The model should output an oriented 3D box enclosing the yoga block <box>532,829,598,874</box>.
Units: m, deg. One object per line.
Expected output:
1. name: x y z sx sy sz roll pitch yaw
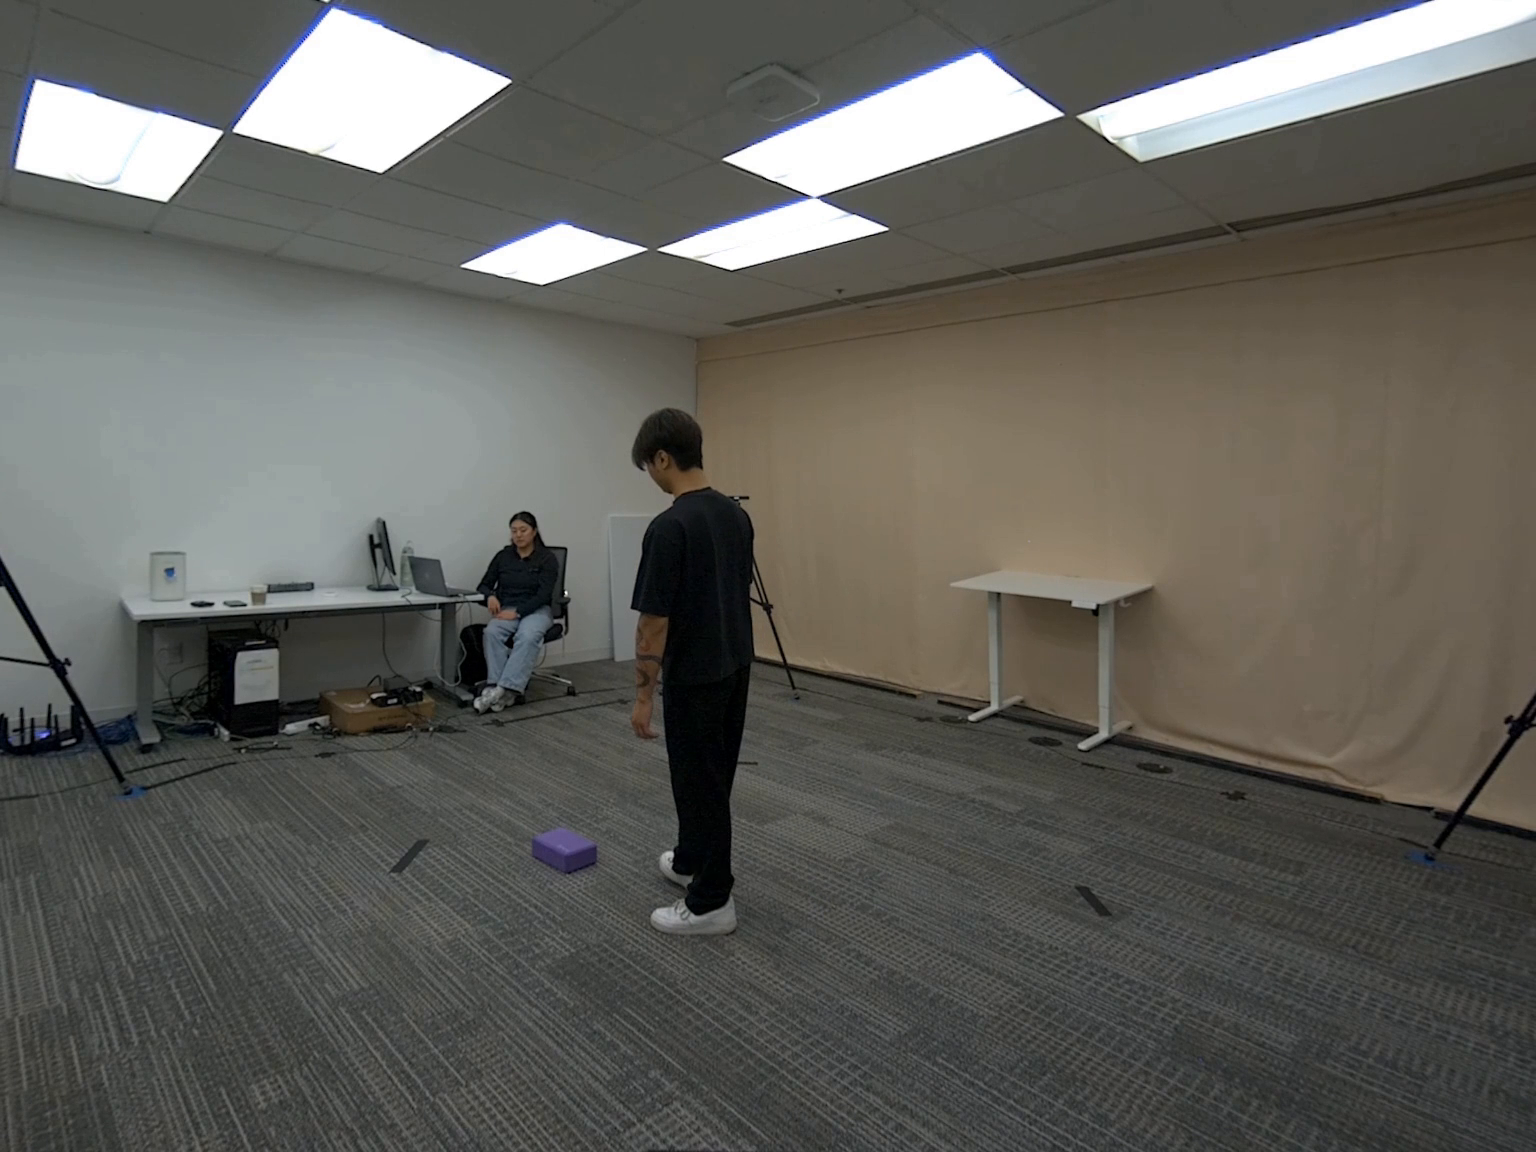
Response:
1. yoga block: -0.781 1.044 3.200 0.235 0.076 0.146 5 7 42
